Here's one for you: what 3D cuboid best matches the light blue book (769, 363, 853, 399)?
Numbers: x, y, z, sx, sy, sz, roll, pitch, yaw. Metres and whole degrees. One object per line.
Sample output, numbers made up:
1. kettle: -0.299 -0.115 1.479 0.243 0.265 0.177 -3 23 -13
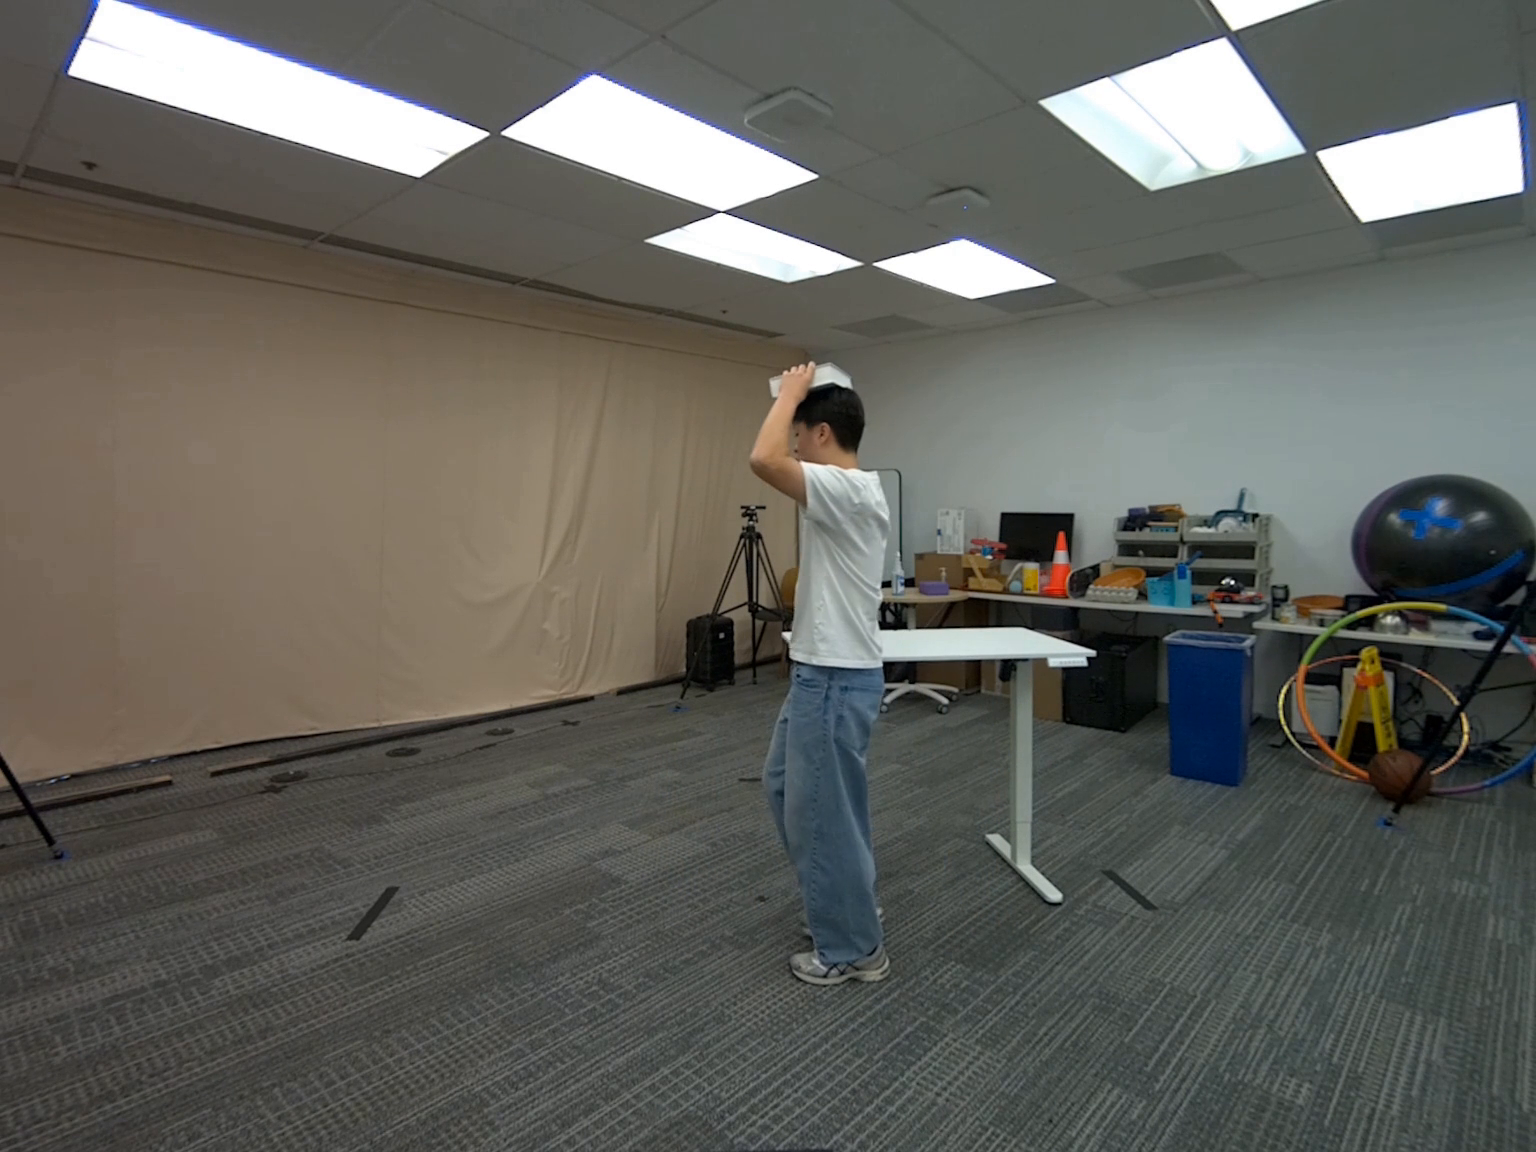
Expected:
1. light blue book: 0.151 -0.567 2.534 0.194 0.059 0.256 -11 1 18
